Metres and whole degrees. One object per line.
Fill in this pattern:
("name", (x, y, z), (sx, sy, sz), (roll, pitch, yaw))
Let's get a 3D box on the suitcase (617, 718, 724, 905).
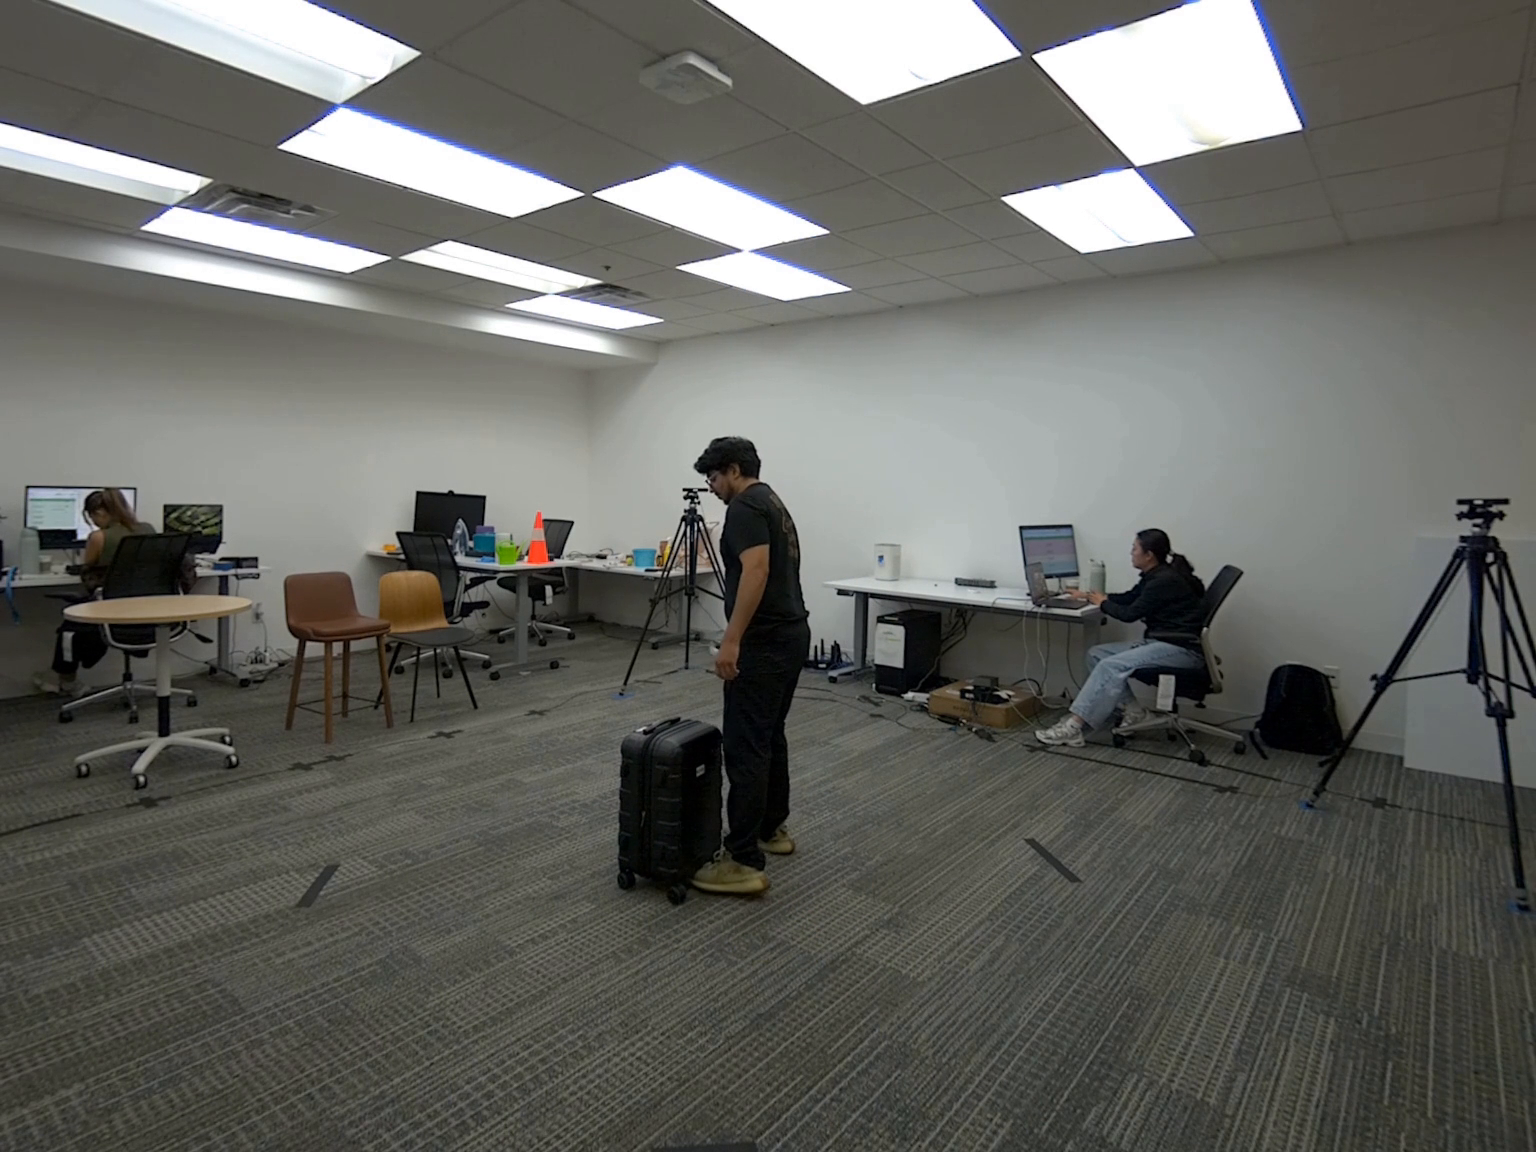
("suitcase", (-0.348, 0.797, 3.032), (0.255, 0.548, 0.366), (1, 2, 26))
